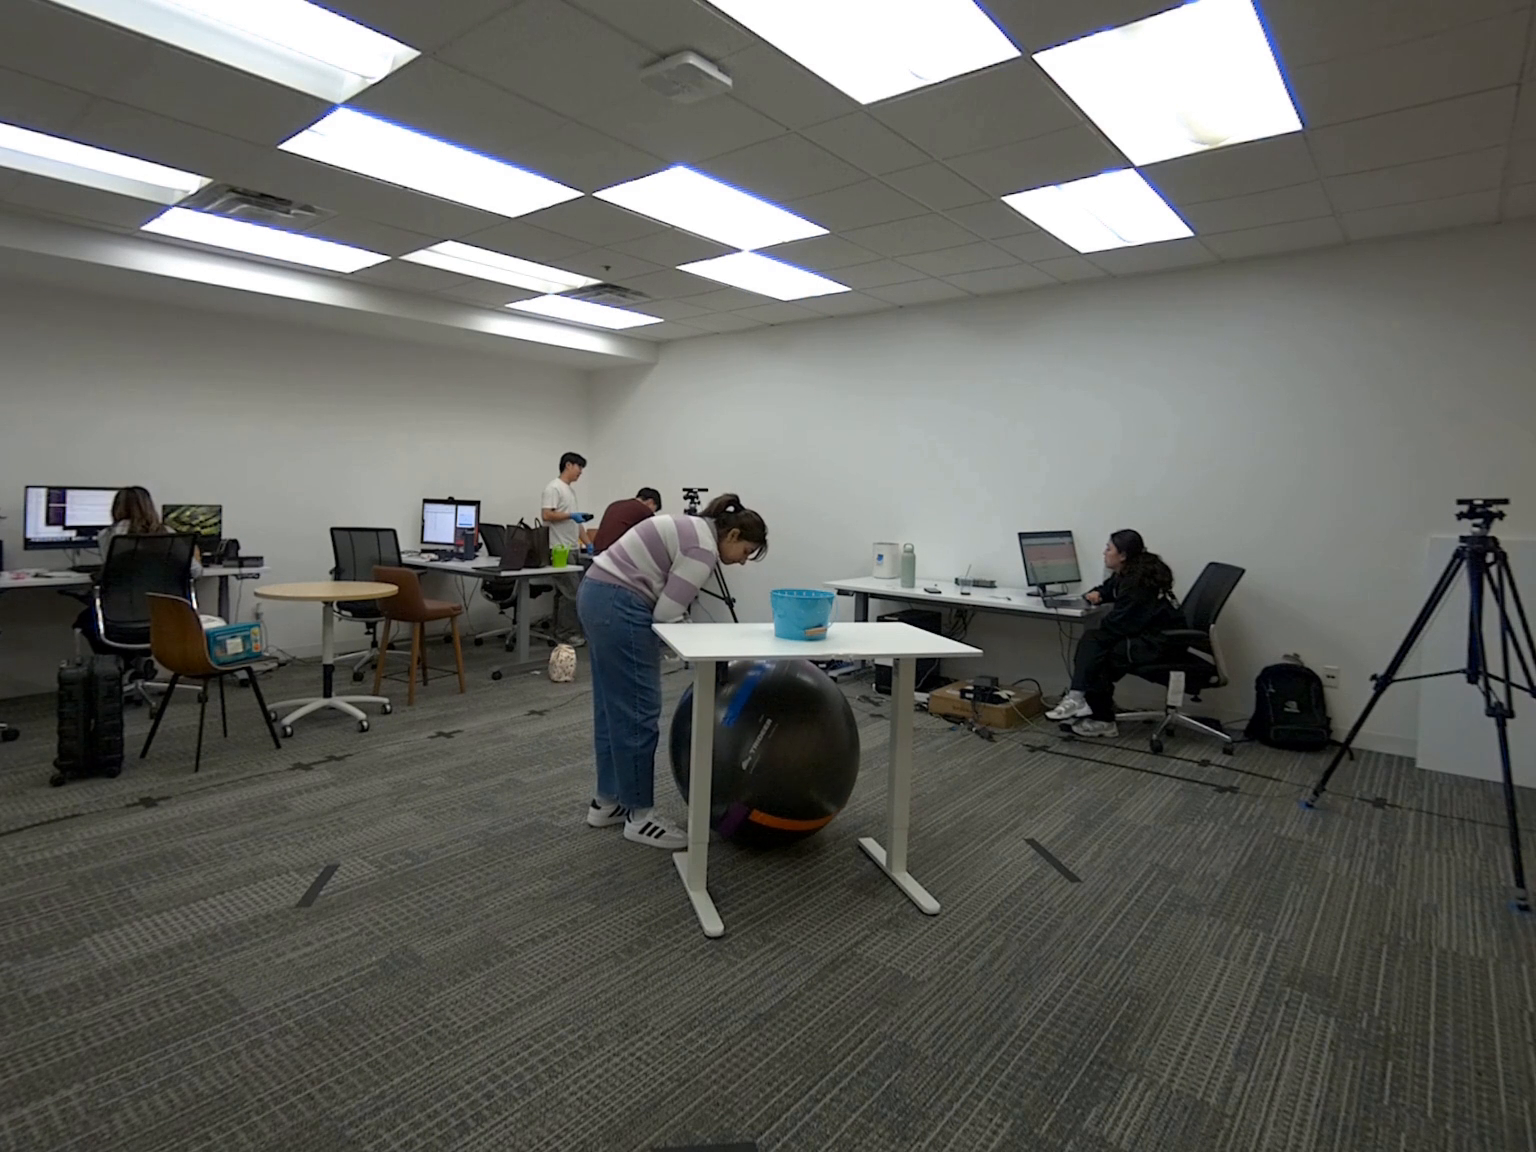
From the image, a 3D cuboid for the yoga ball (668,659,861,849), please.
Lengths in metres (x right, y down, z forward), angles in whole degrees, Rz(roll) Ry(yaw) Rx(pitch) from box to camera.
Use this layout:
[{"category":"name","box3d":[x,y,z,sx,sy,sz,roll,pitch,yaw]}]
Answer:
[{"category":"yoga ball","box3d":[-0.025,0.679,3.395,0.757,0.755,0.762,1,4,-2]}]
